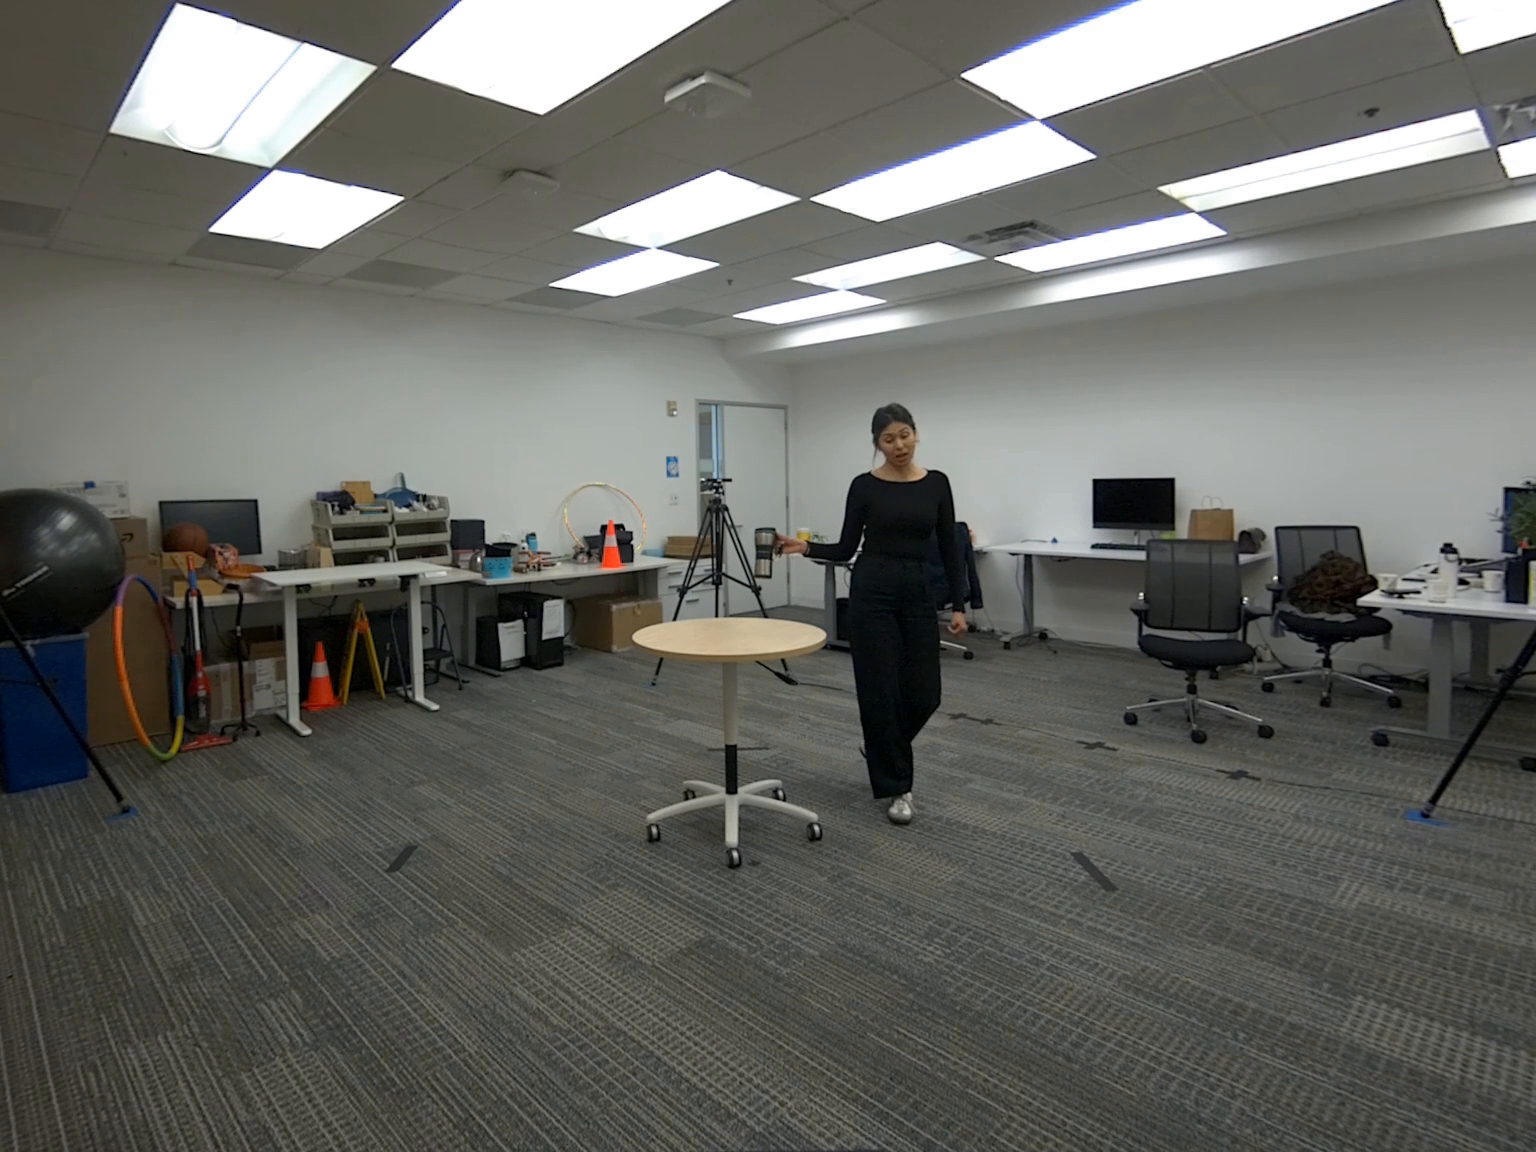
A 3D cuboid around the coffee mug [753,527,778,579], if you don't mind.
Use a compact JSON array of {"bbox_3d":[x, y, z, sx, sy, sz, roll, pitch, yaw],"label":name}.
[{"bbox_3d":[0.007,-0.092,3.448,0.124,0.205,0.086,-1,-9,15],"label":"coffee mug"}]
